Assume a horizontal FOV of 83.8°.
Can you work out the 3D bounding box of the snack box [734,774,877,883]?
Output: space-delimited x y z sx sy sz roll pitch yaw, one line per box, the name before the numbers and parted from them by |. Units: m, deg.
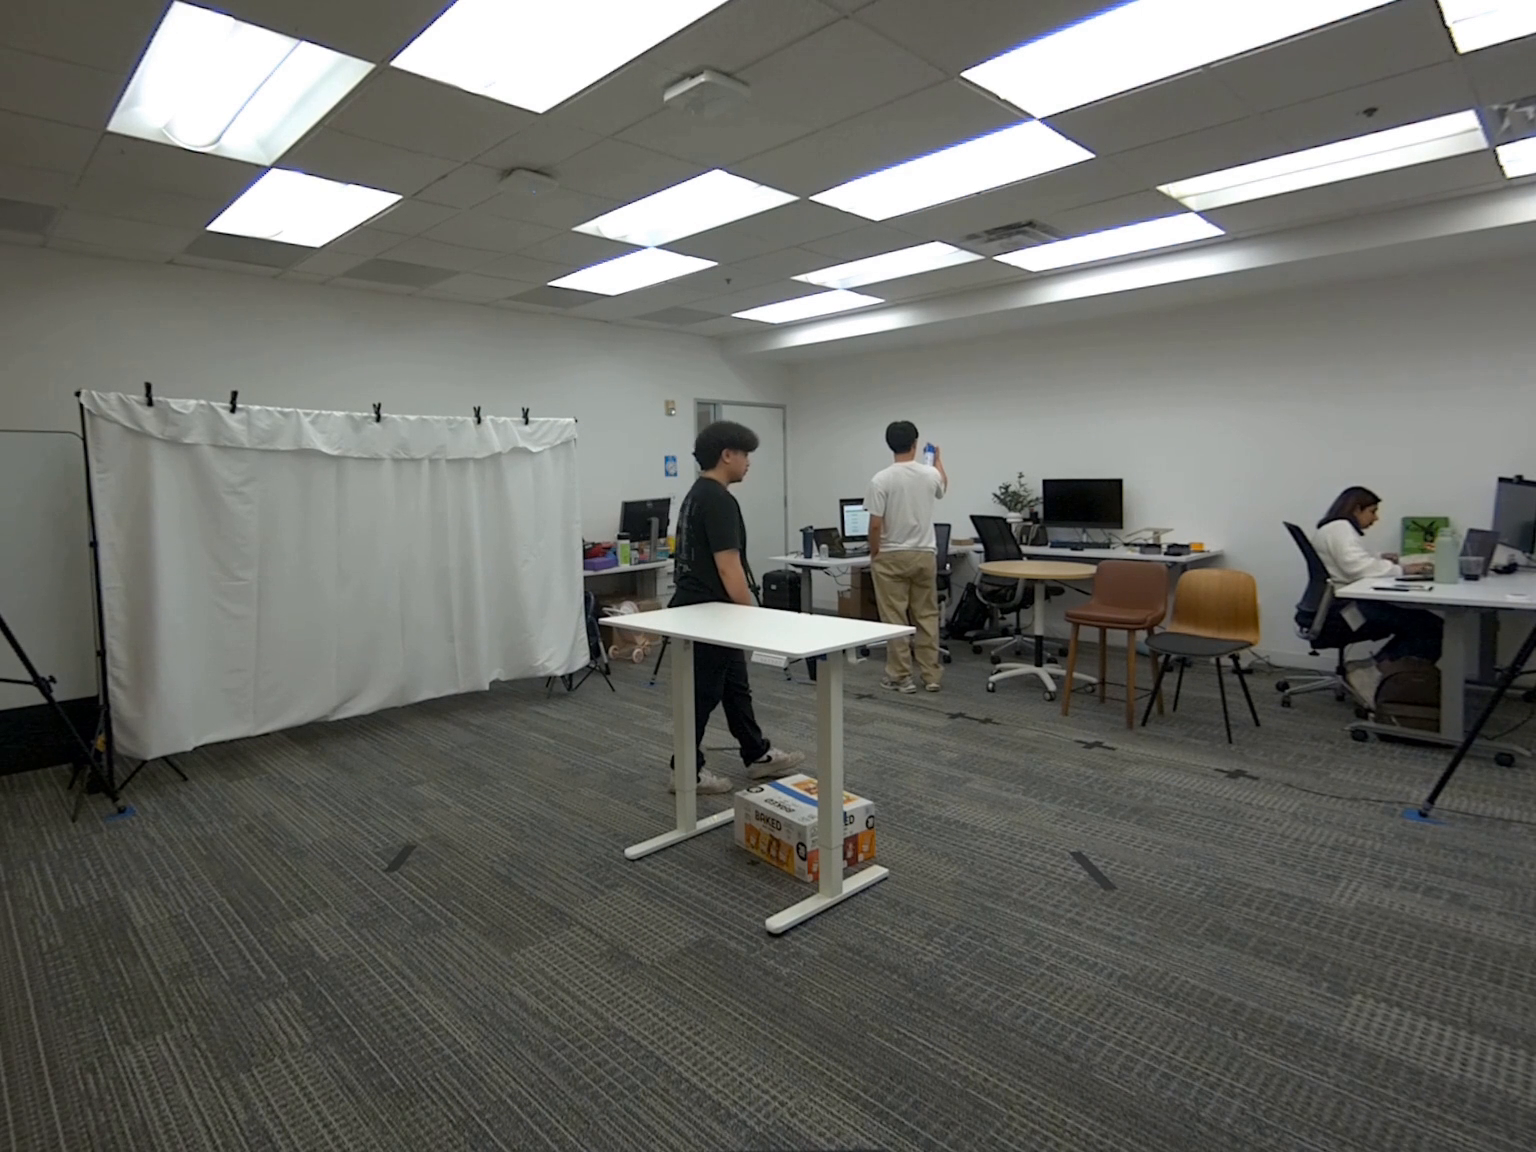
snack box | 0.134 0.931 3.189 0.331 0.205 0.417 -5 7 -38
